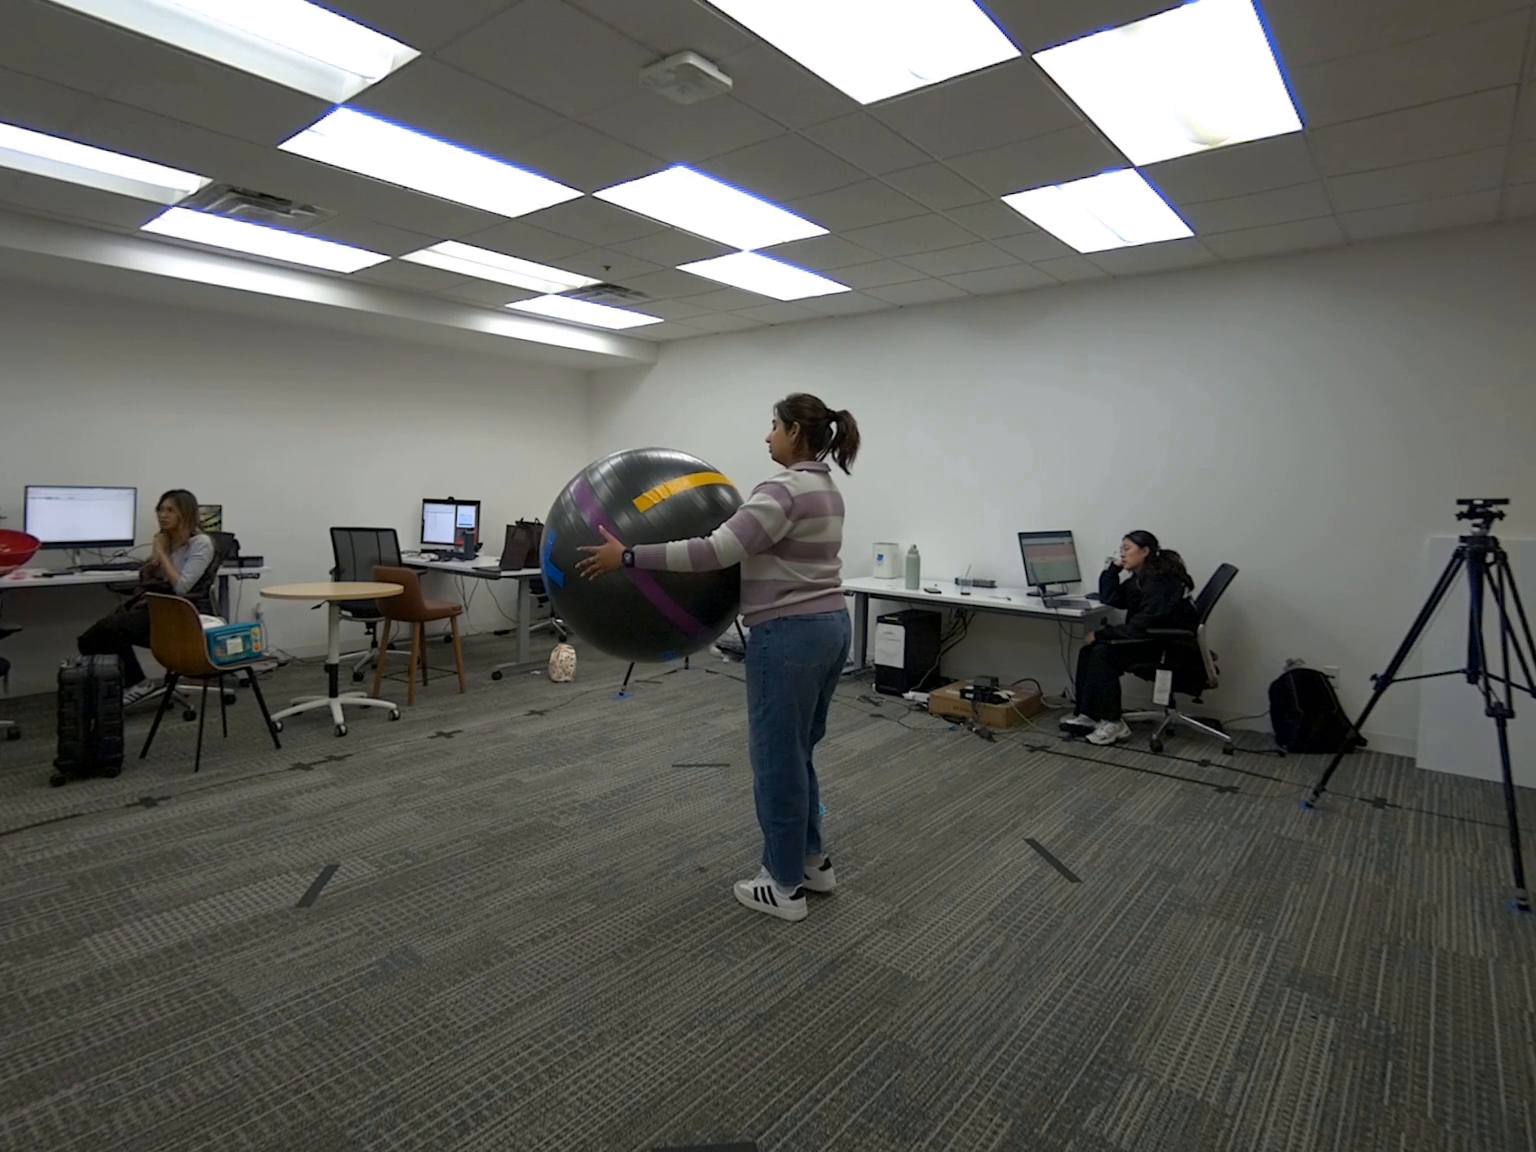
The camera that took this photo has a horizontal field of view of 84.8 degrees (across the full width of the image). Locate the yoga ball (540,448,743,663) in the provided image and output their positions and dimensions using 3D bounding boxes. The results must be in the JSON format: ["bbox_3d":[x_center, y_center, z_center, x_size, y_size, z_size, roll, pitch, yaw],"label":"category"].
[{"bbox_3d":[-0.431,-0.071,3.003,0.757,0.756,0.762,1,4,-2],"label":"yoga ball"}]
